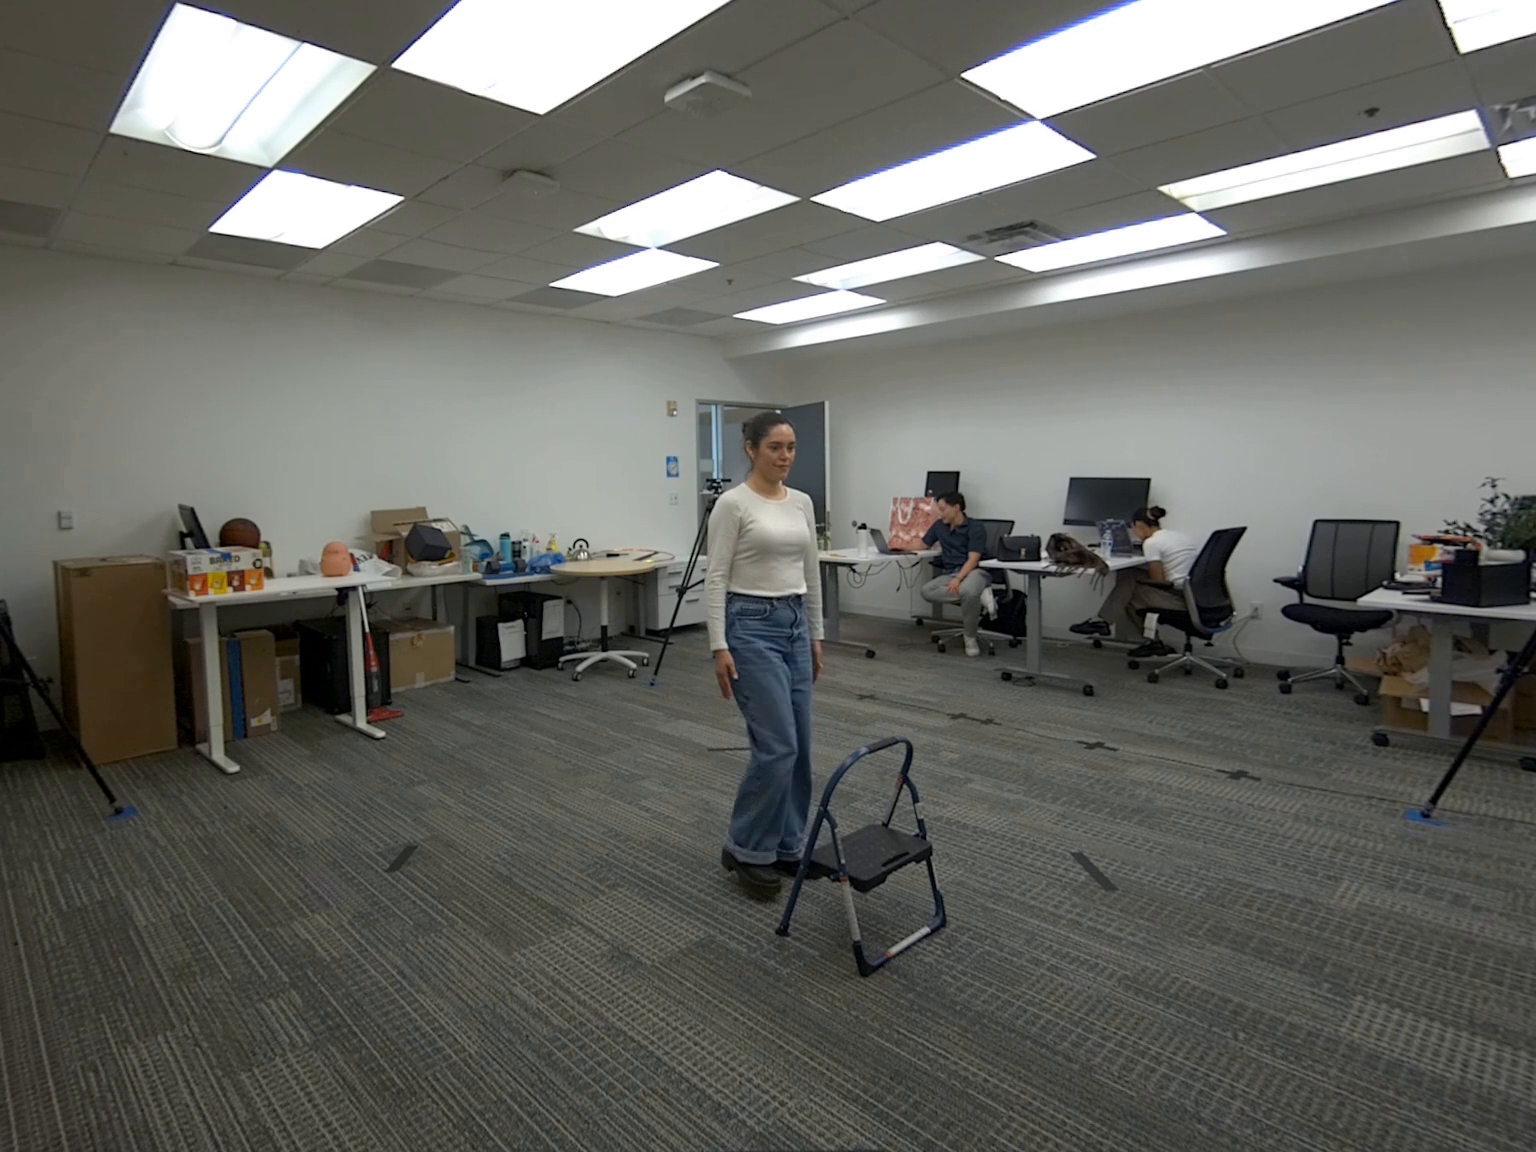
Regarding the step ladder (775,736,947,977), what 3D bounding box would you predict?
[{"bbox_3d":[0.288,0.792,2.626,0.419,0.604,0.360,-6,6,-45],"label":"step ladder"}]
